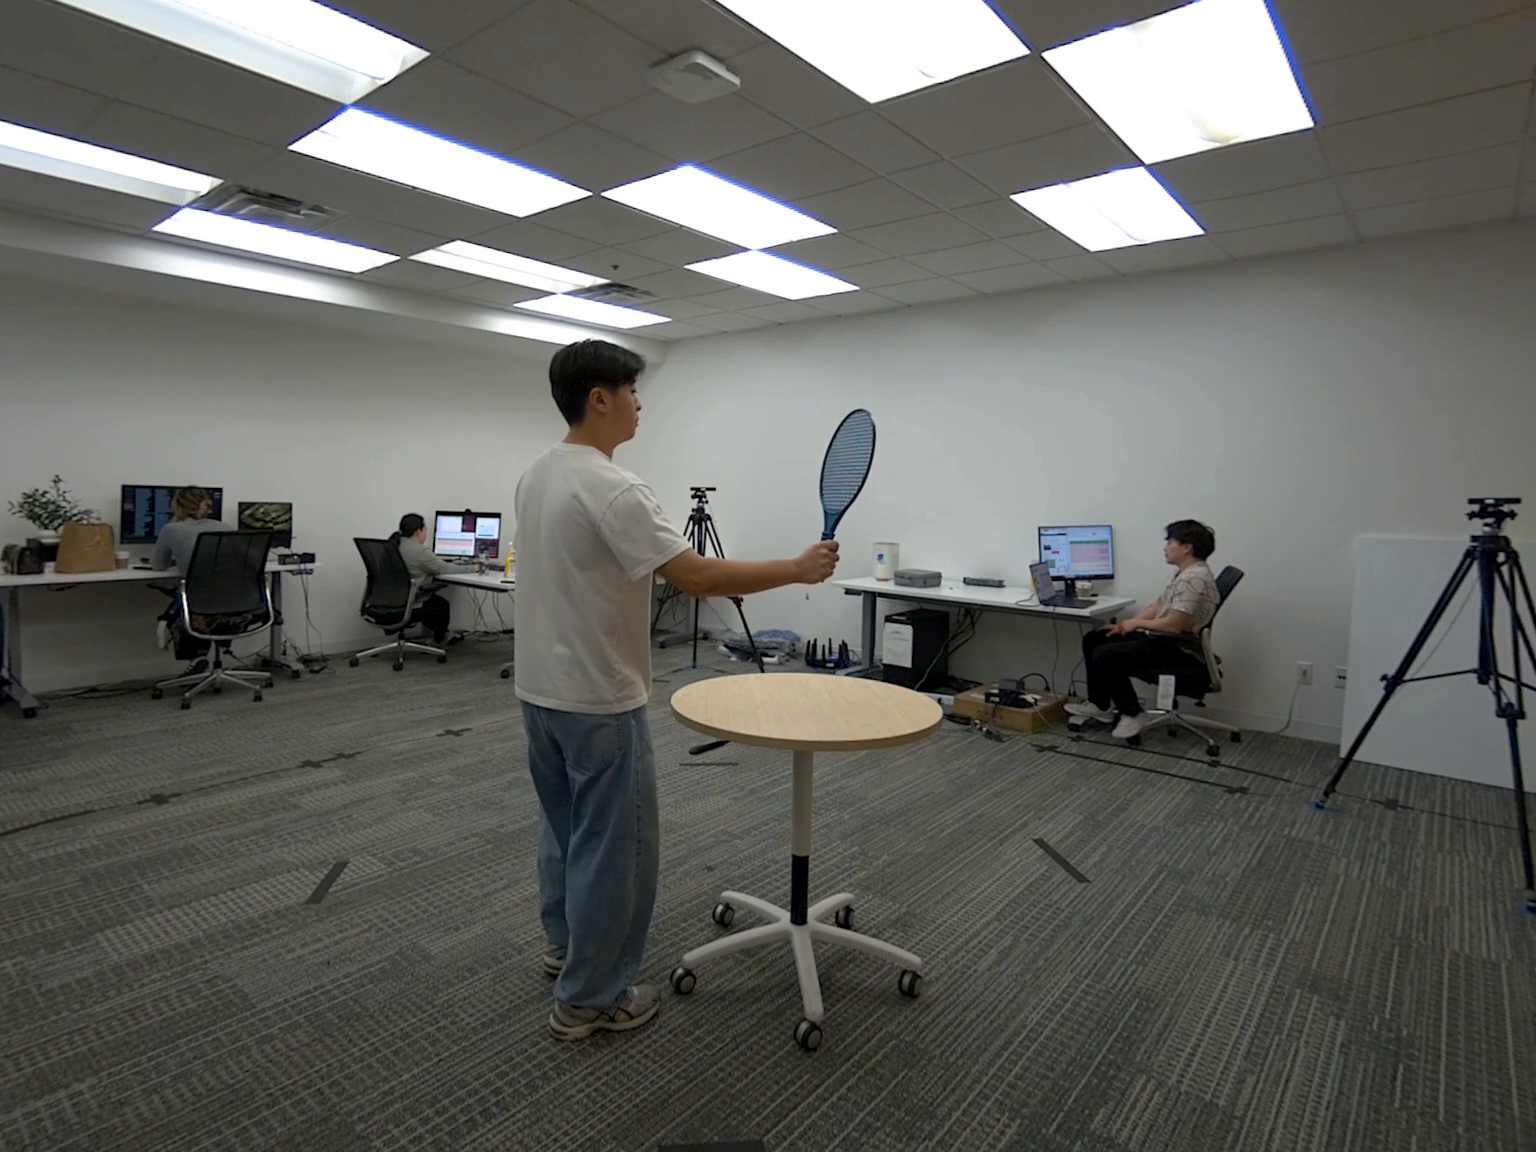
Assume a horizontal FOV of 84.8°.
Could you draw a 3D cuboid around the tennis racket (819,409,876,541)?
[{"bbox_3d":[0.161,-0.198,2.073,0.031,0.433,0.220,15,-1,-28],"label":"tennis racket"}]
